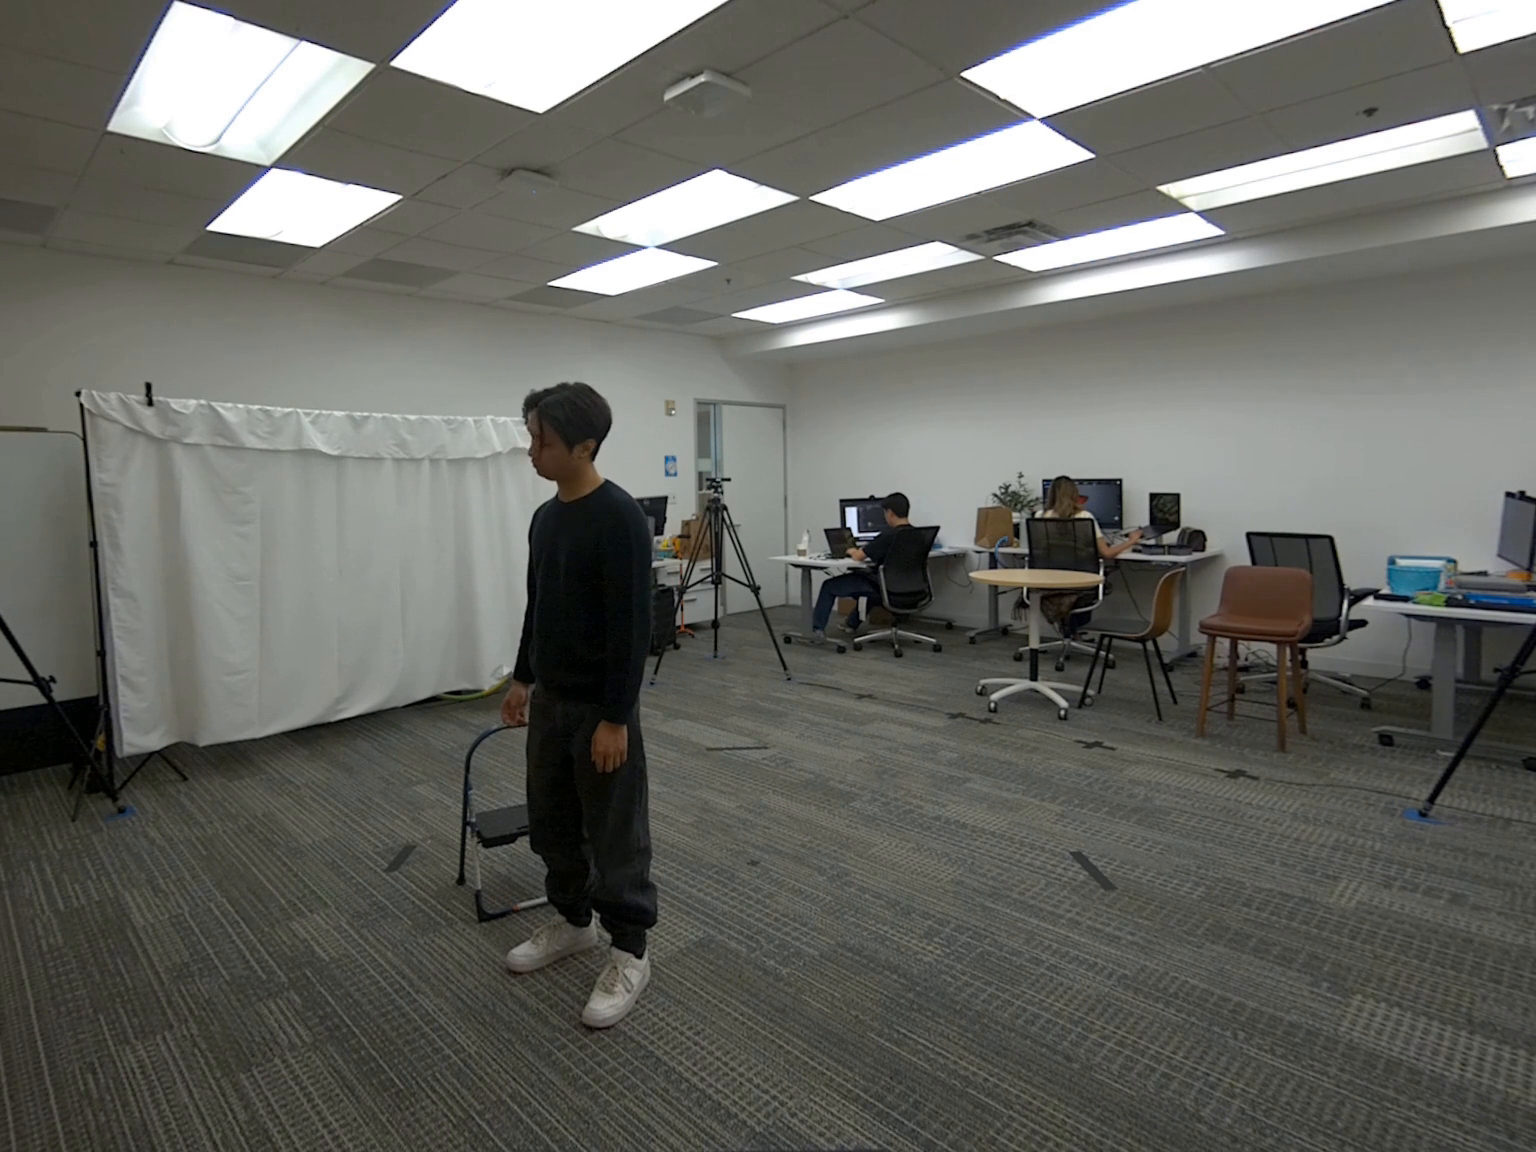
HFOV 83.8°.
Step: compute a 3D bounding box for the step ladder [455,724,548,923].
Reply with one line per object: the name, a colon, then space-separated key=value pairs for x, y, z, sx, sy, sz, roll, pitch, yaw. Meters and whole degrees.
step ladder: x=-0.833 y=0.772 z=2.939 sx=0.421 sy=0.603 sz=0.359 roll=-4 pitch=6 yaw=-30
